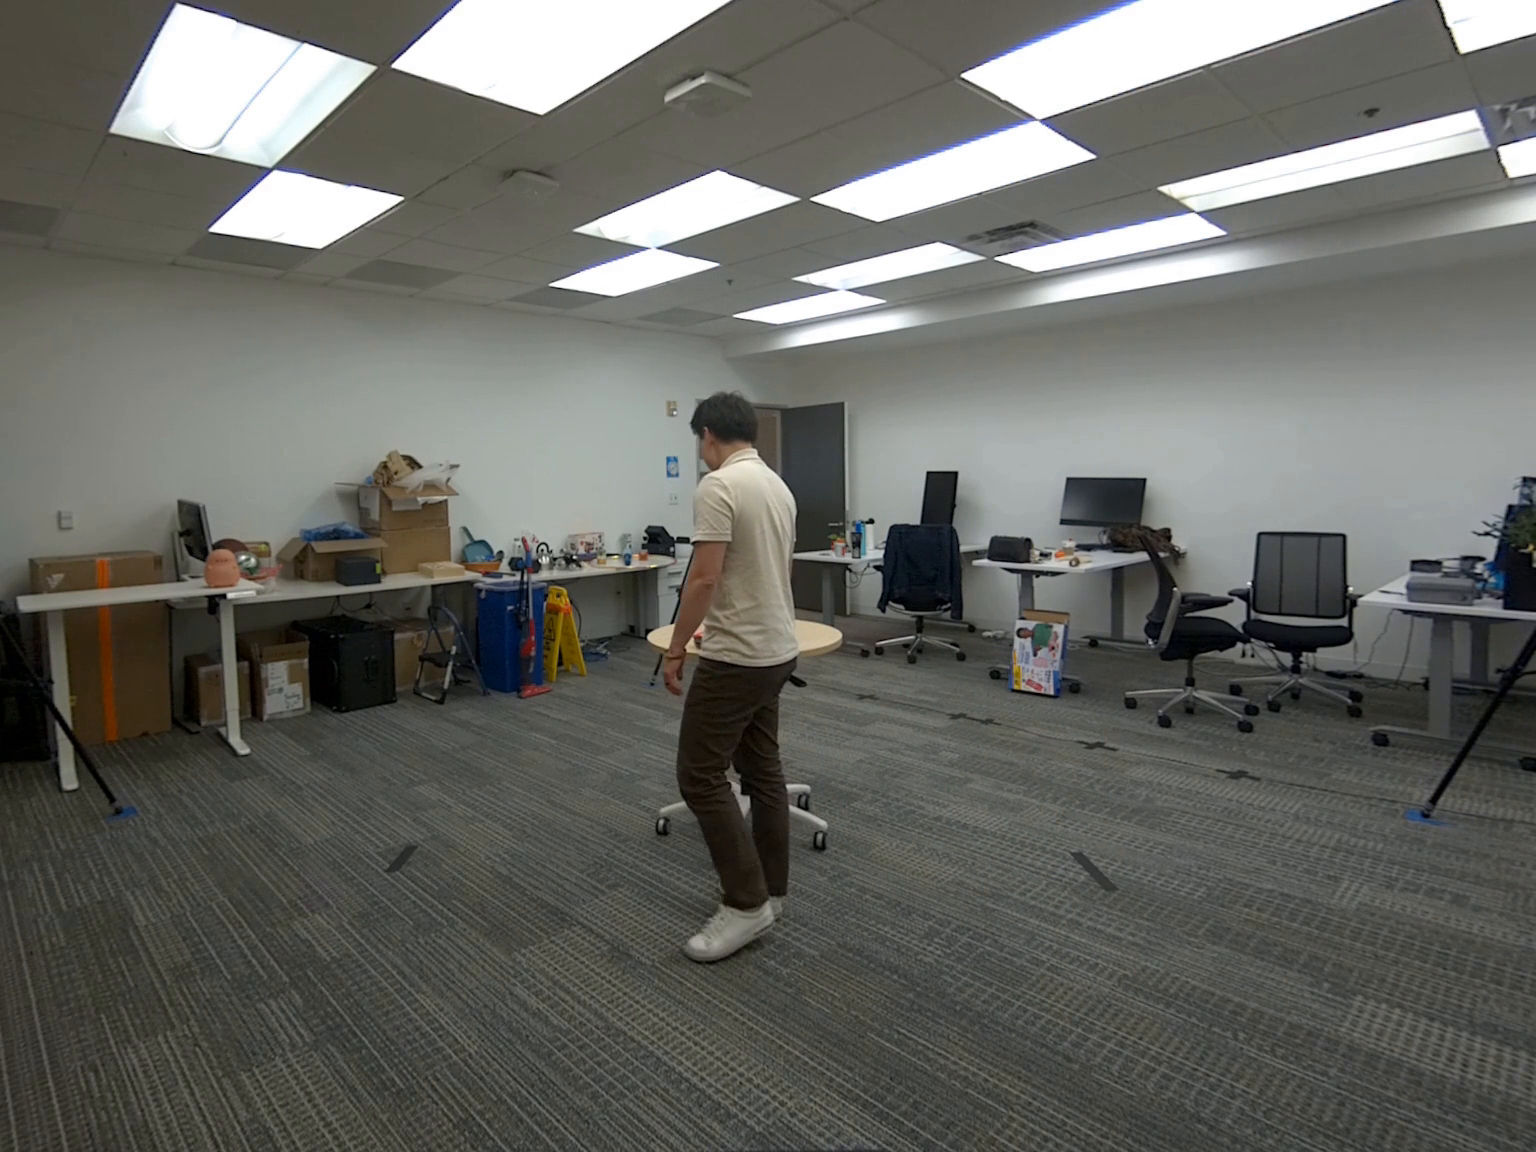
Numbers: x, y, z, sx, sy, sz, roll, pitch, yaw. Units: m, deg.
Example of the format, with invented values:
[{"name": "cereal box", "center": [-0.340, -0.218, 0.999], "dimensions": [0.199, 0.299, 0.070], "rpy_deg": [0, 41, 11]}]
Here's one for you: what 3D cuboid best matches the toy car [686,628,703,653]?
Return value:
[{"name": "toy car", "center": [-0.133, 0.232, 3.114], "dimensions": [0.259, 0.083, 0.128], "rpy_deg": [-10, 1, 24]}]
